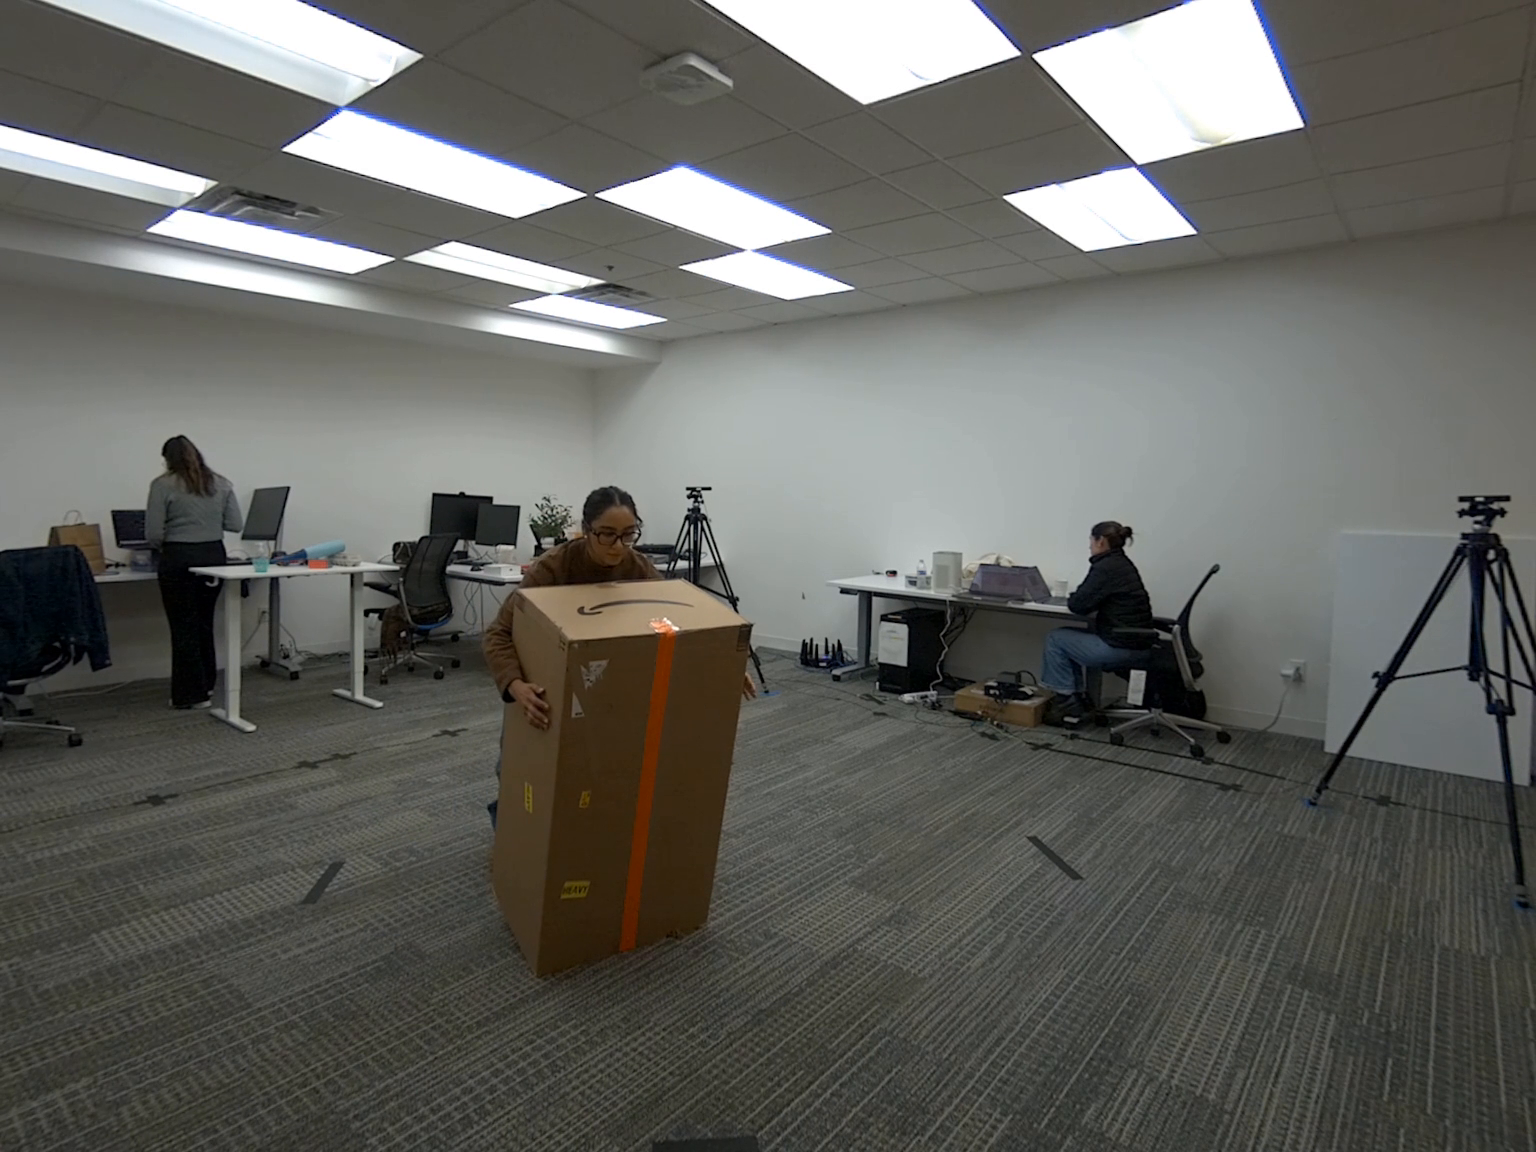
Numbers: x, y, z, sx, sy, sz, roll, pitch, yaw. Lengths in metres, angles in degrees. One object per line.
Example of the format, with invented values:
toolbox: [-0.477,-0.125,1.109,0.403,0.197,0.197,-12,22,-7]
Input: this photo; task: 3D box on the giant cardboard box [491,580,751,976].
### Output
giant cardboard box: [-0.473,0.577,2.595,0.561,1.015,0.443,-1,17,-35]
